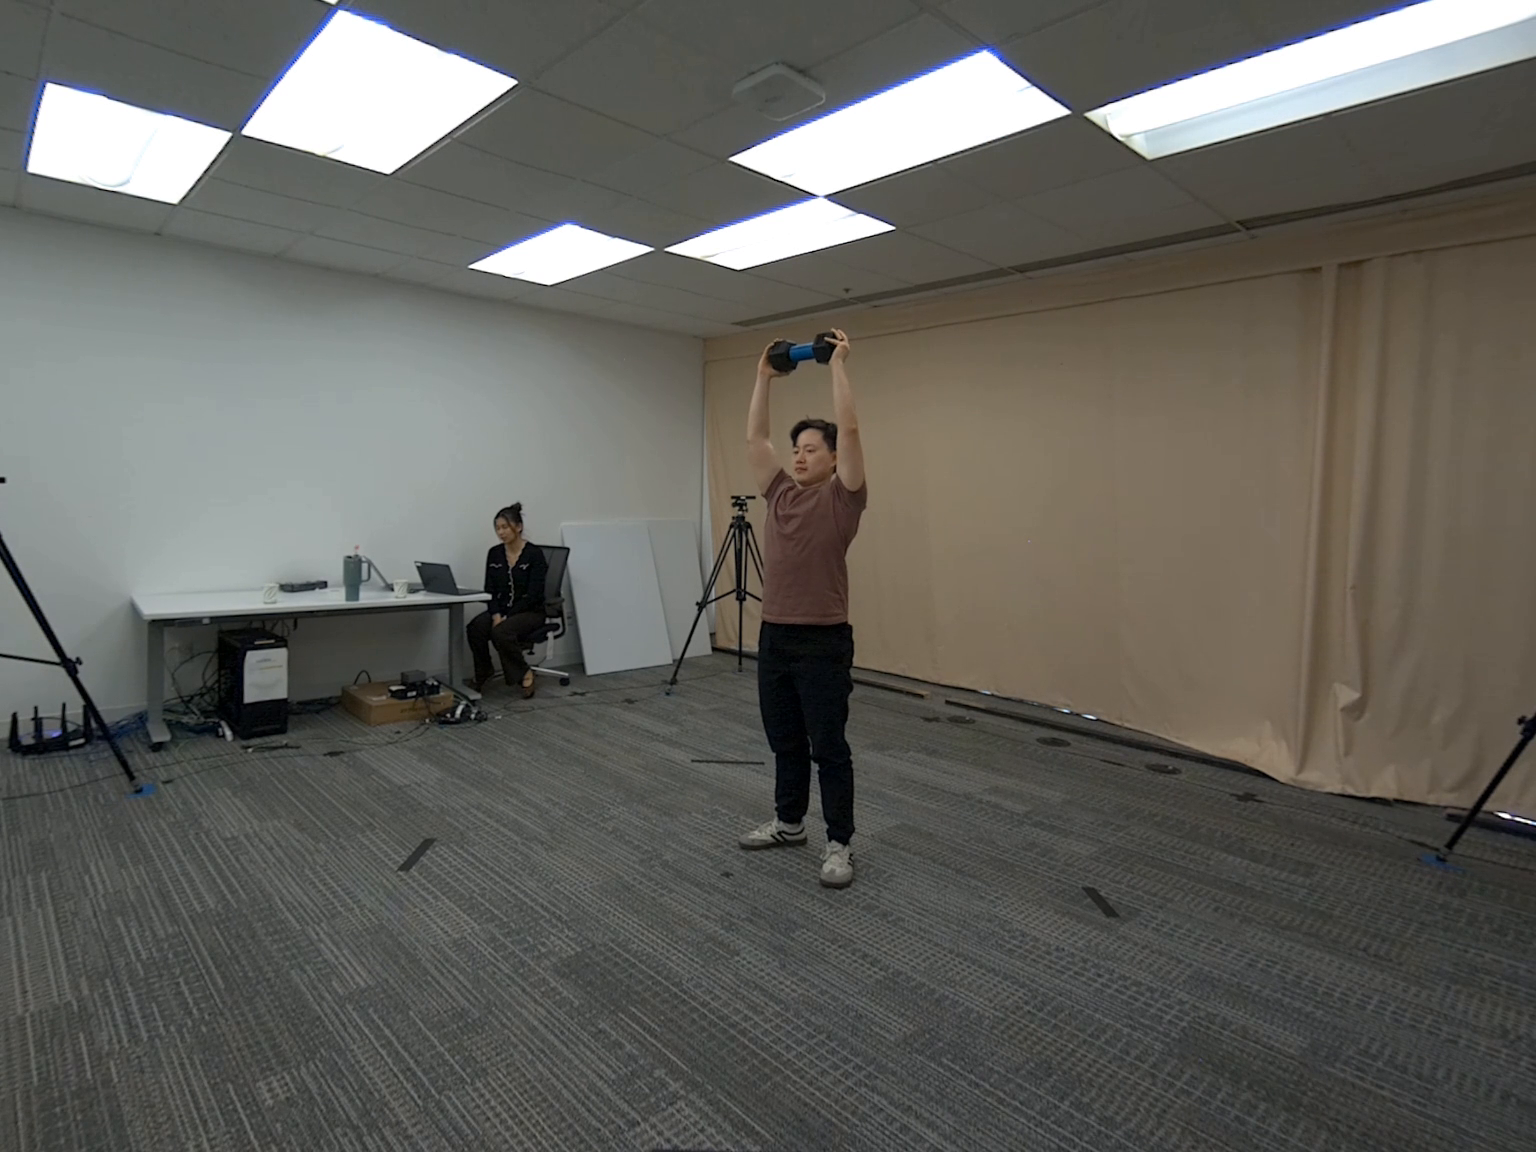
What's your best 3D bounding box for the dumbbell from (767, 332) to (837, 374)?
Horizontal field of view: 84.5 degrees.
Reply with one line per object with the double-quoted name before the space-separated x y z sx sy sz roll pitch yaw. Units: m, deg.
"dumbbell" 0.140 -0.833 3.152 0.301 0.124 0.105 4 -25 44
